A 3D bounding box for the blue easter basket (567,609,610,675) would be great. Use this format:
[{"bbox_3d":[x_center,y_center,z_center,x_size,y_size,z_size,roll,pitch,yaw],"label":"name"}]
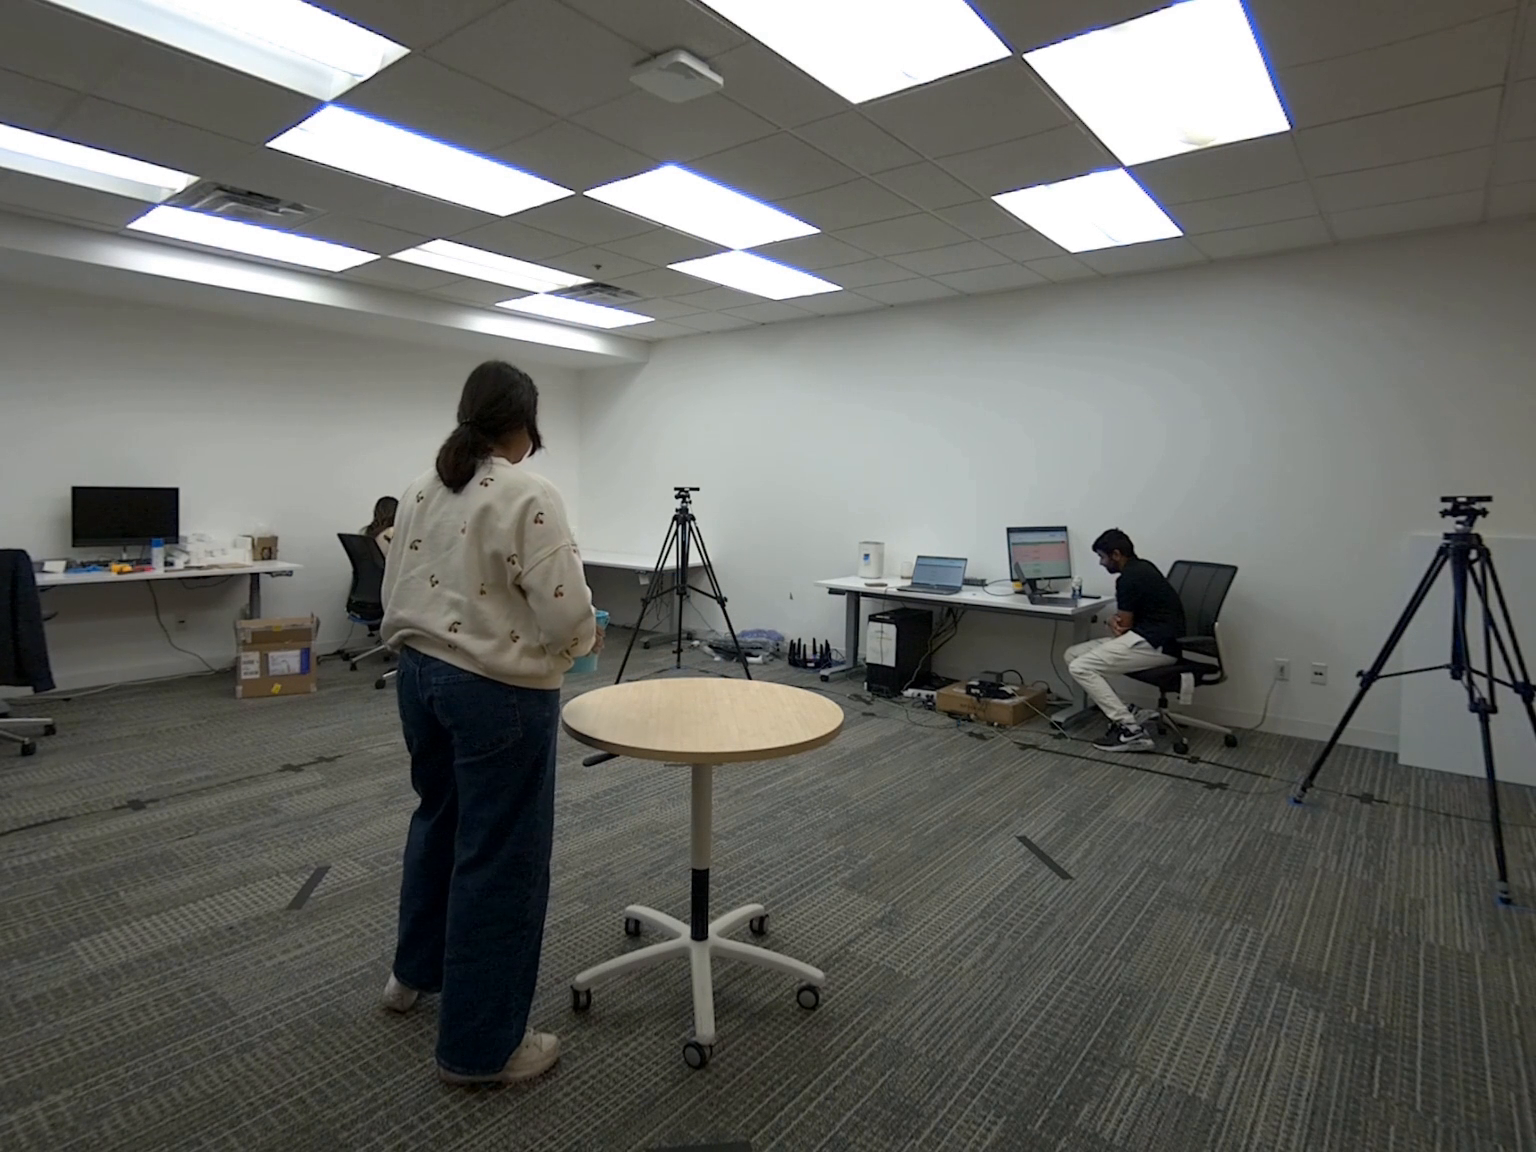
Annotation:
[{"bbox_3d":[-0.563,0.176,2.281,0.243,0.156,0.244,2,2,-2],"label":"blue easter basket"}]
